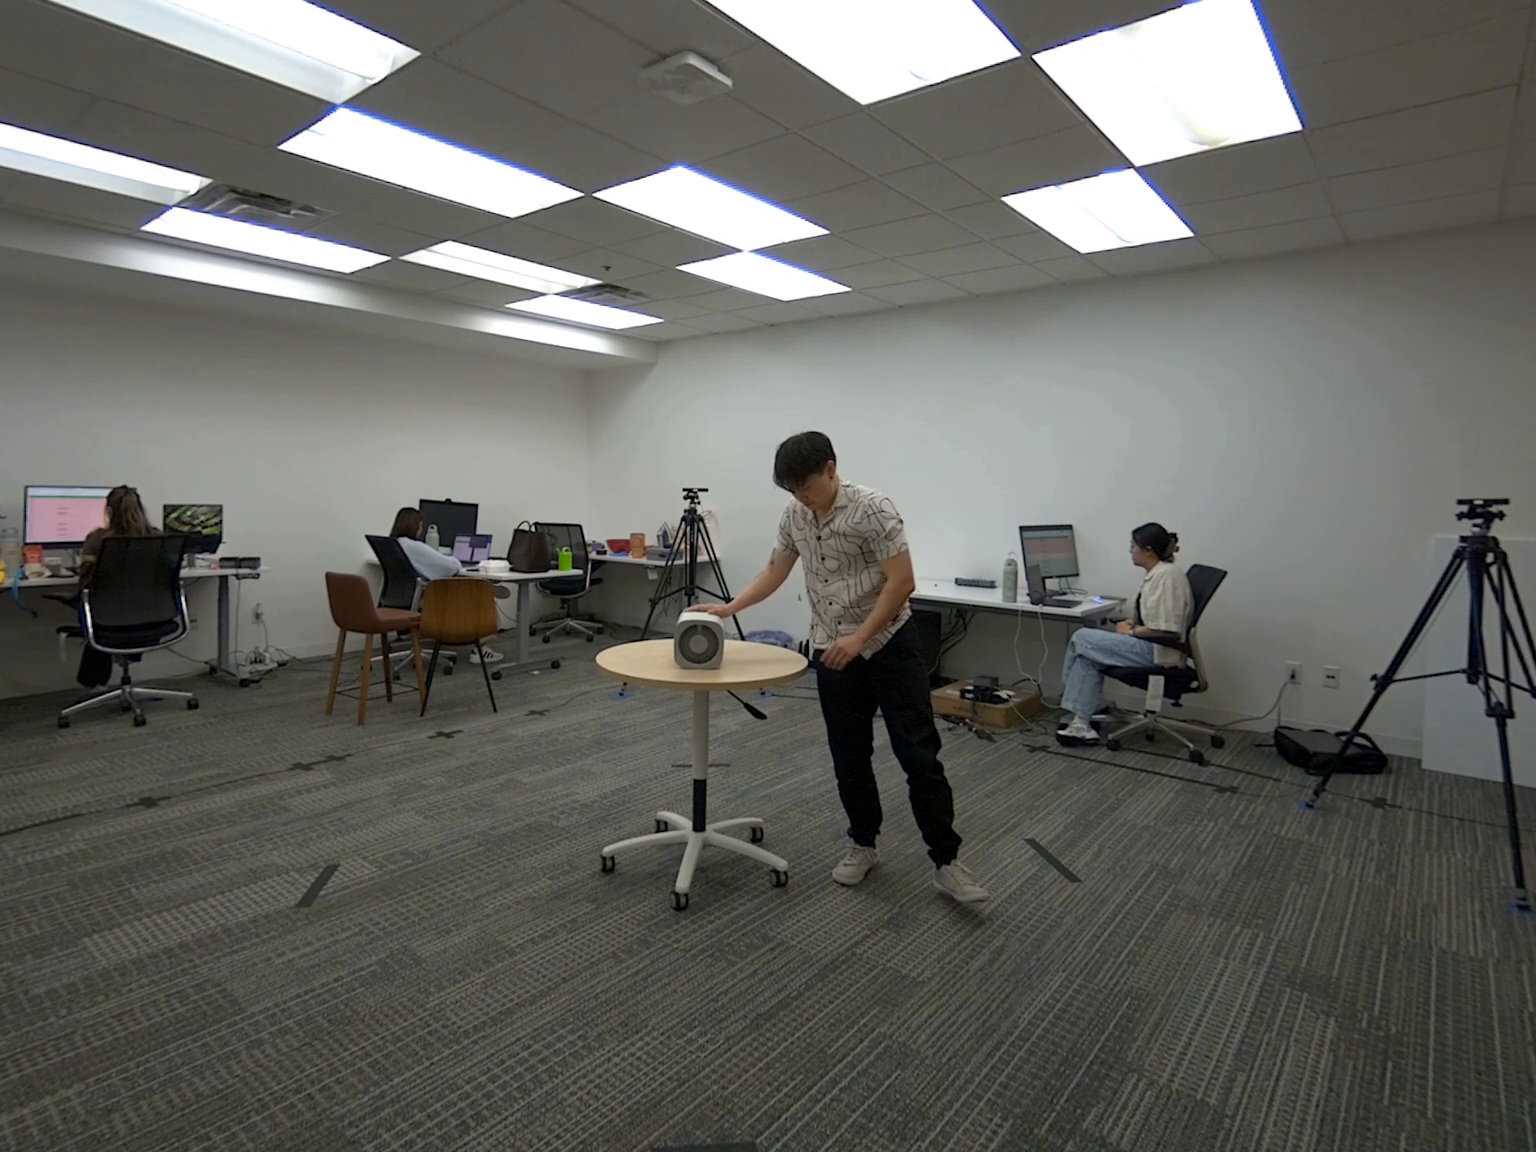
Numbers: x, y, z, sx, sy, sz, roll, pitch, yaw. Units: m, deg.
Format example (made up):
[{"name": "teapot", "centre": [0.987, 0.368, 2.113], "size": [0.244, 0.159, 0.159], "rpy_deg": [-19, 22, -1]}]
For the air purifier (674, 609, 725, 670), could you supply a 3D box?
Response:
[{"name": "air purifier", "centre": [-0.250, 0.214, 3.024], "size": [0.170, 0.171, 0.267], "rpy_deg": [2, 3, -5]}]
